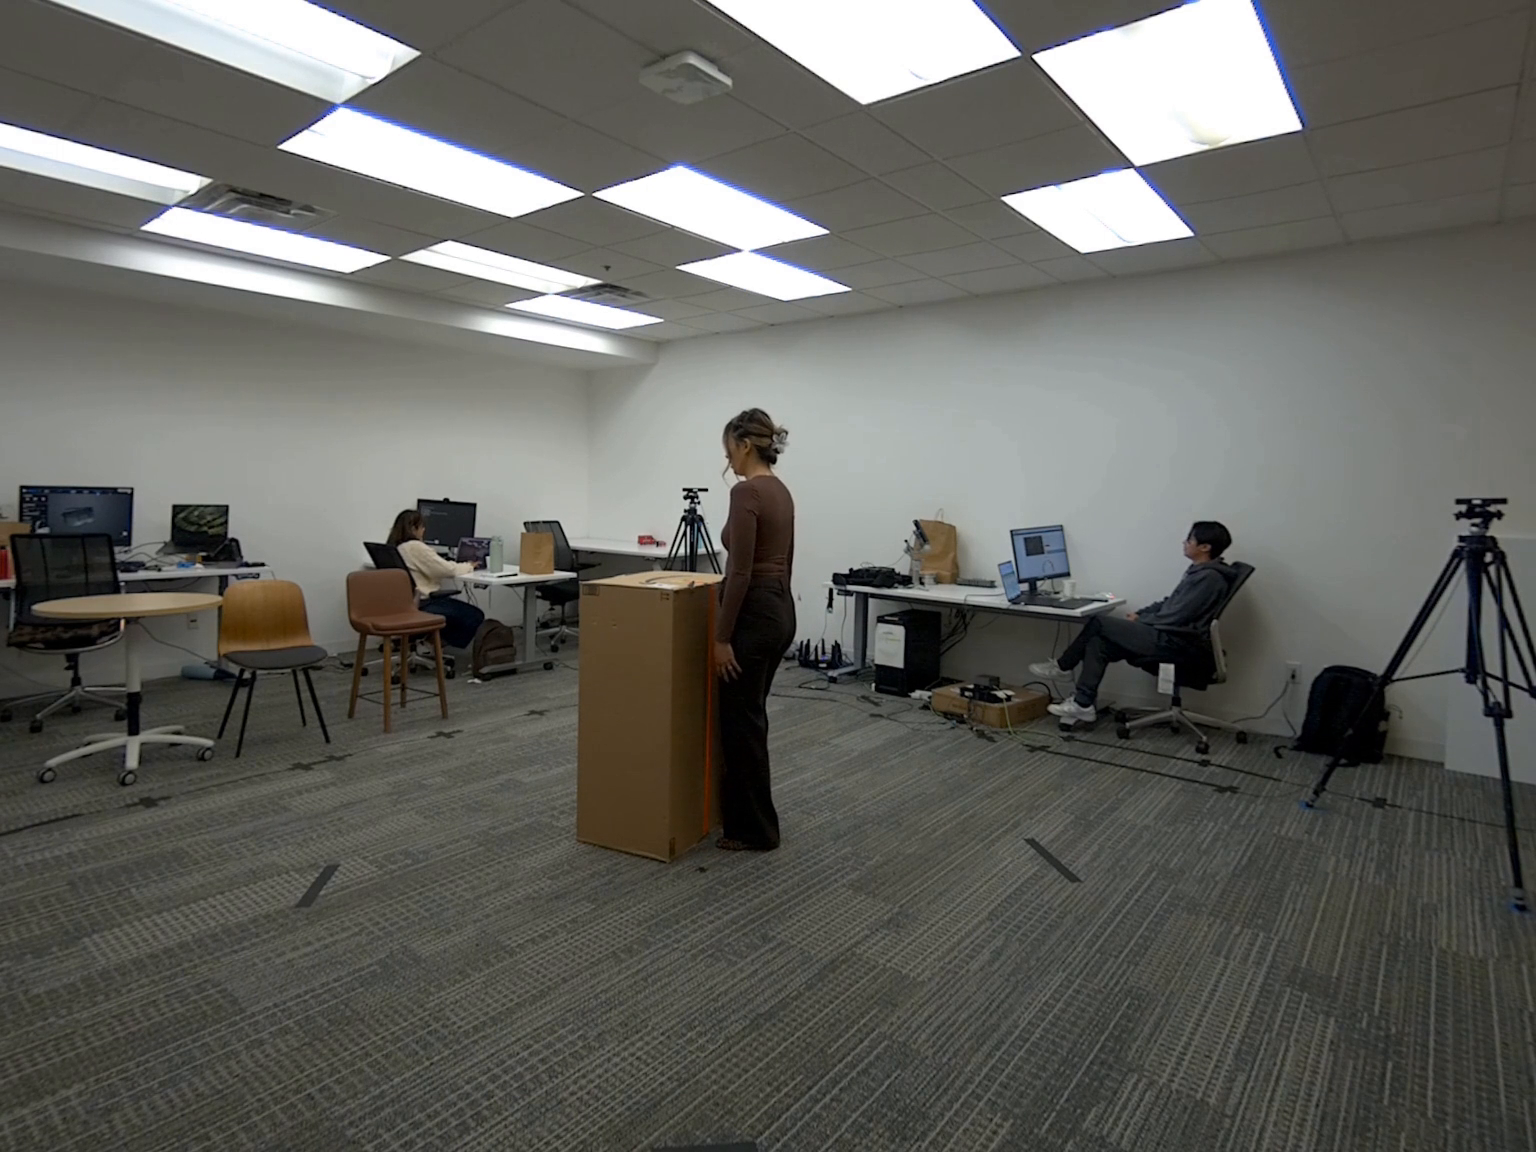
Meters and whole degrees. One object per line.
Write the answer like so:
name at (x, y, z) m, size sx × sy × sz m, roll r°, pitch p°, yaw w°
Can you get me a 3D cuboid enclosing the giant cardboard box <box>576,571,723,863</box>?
giant cardboard box at (-0.450, 0.521, 3.473) m, size 0.459 × 1.024 × 0.570 m, roll 3°, pitch 4°, yaw 25°
